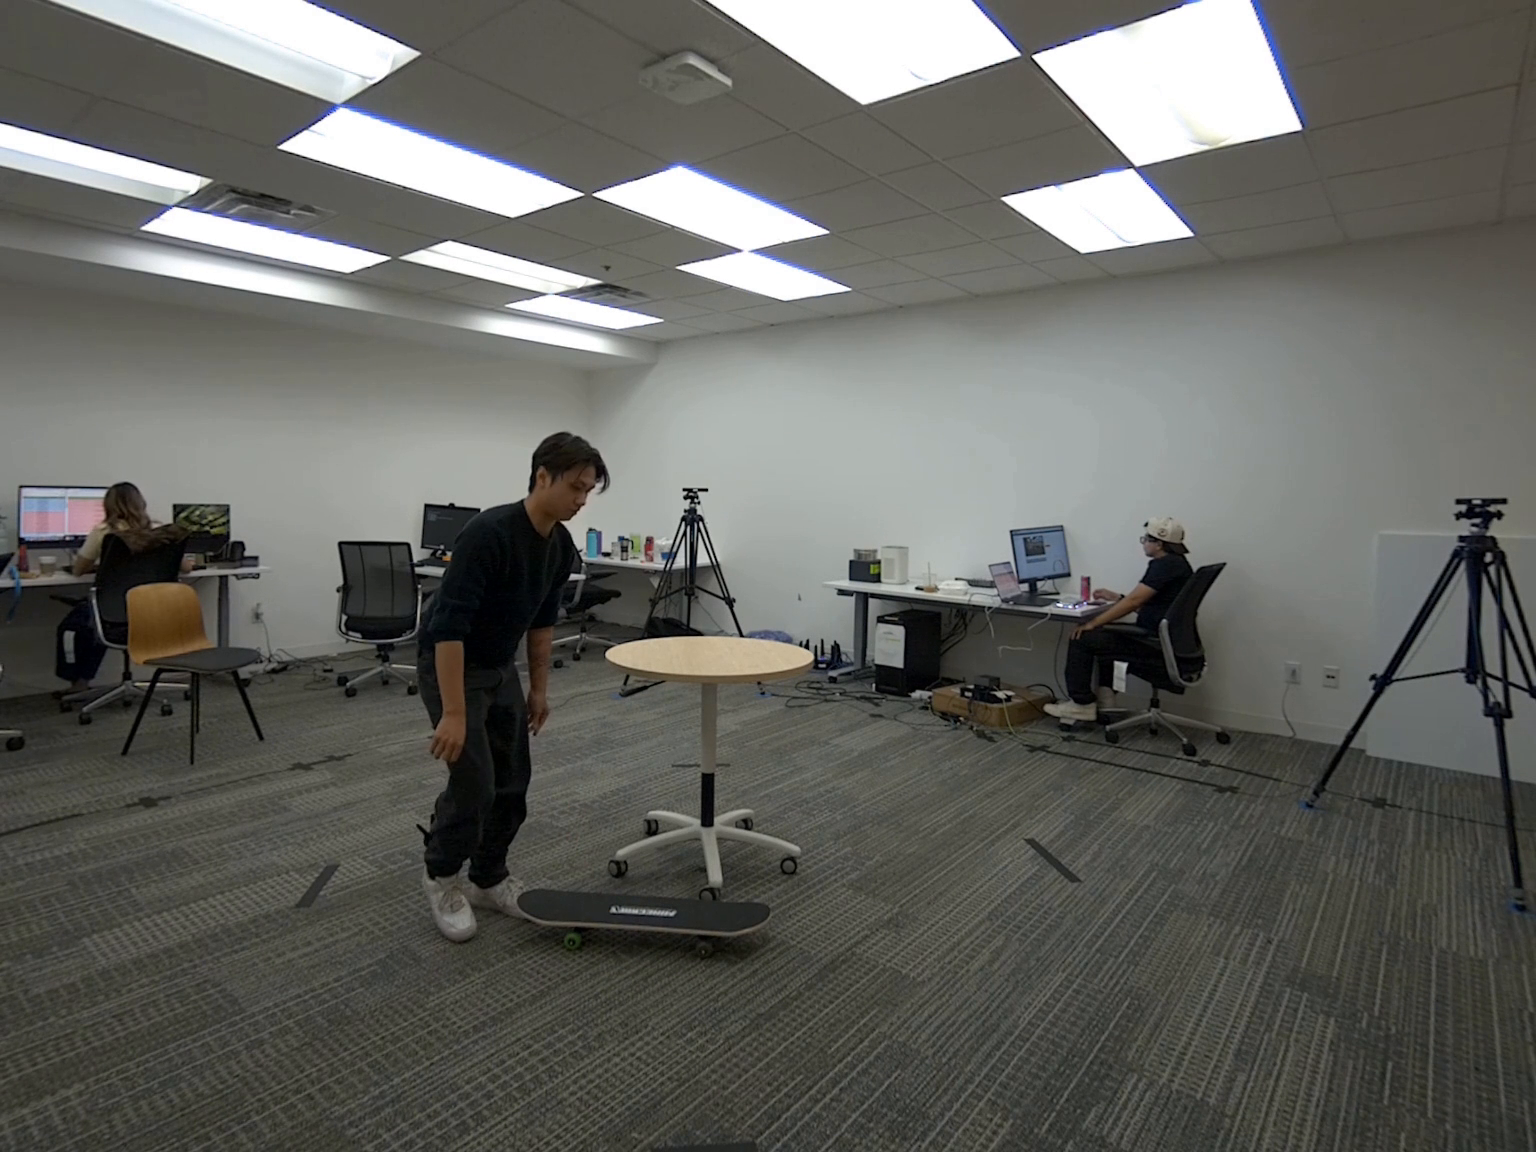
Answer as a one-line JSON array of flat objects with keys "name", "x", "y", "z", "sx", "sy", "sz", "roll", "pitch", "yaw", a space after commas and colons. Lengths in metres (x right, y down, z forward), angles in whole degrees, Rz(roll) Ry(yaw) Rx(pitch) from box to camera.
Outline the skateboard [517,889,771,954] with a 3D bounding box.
[{"name": "skateboard", "x": -0.389, "y": 1.060, "z": 2.607, "sx": 0.790, "sy": 0.110, "sz": 0.193, "roll": 1, "pitch": 5, "yaw": 5}]
